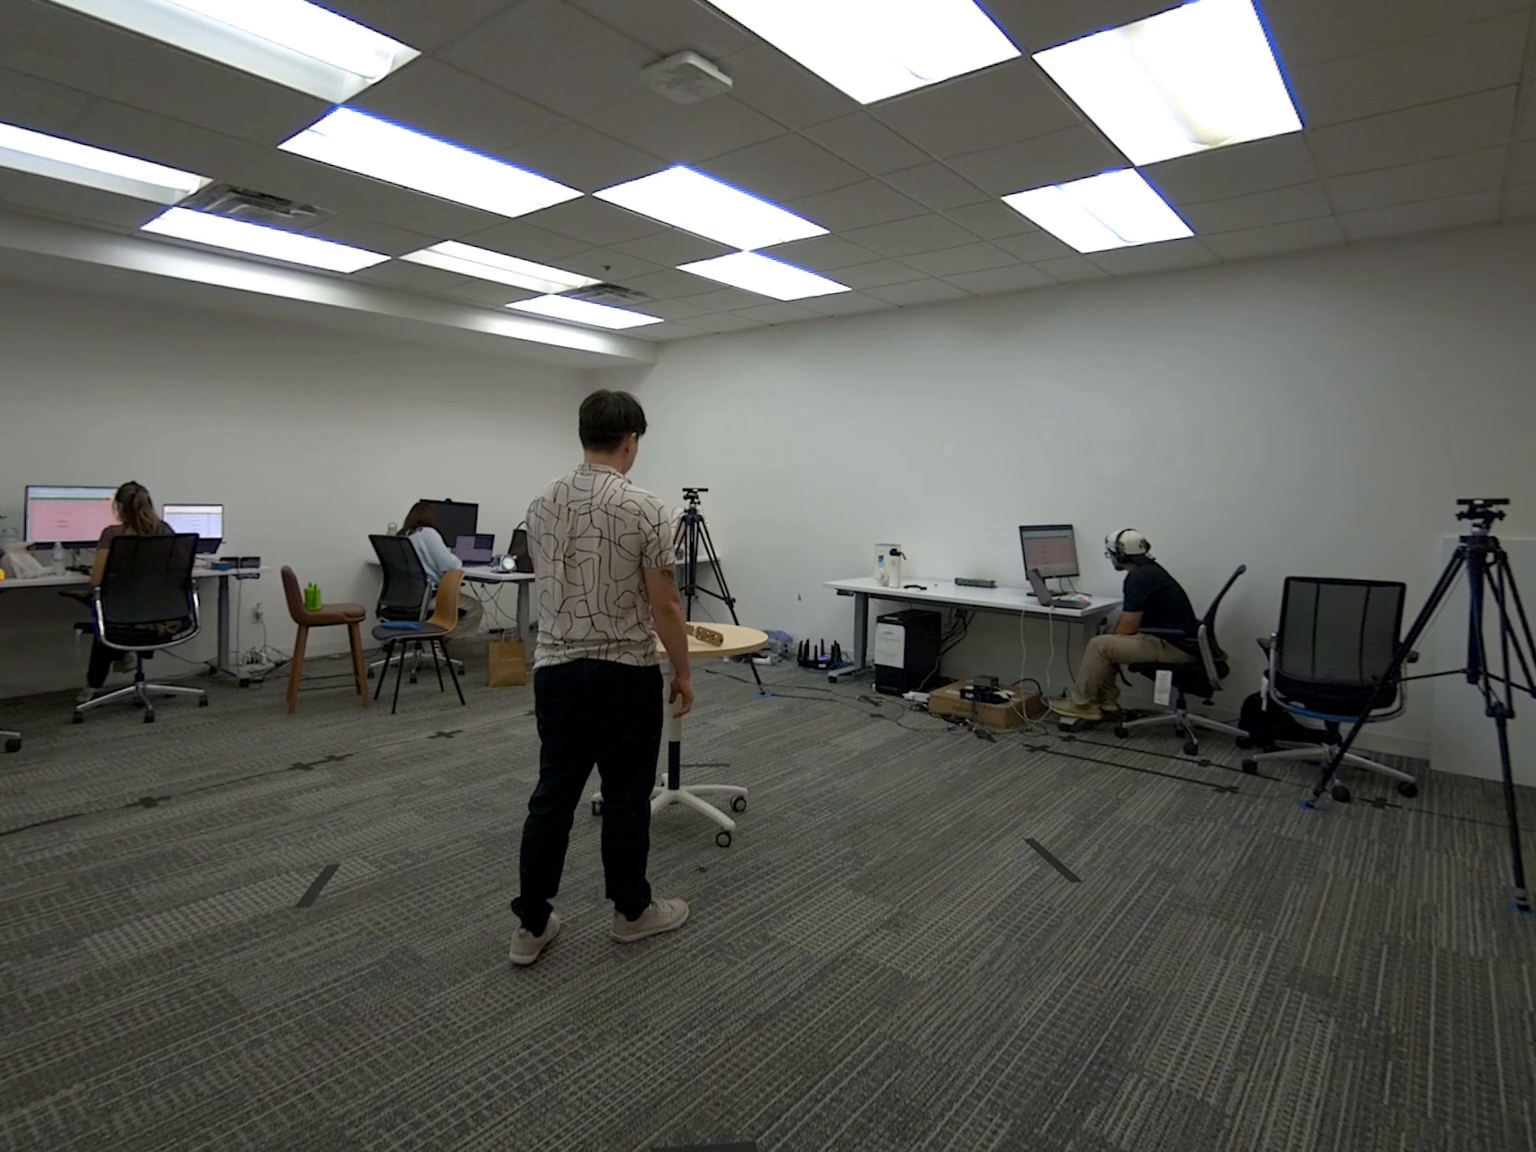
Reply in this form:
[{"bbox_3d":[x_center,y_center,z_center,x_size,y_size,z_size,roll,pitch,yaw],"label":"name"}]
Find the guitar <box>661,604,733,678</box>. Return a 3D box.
[{"bbox_3d":[-0.389,0.209,3.410,0.516,0.191,0.069,25,15,30],"label":"guitar"}]
